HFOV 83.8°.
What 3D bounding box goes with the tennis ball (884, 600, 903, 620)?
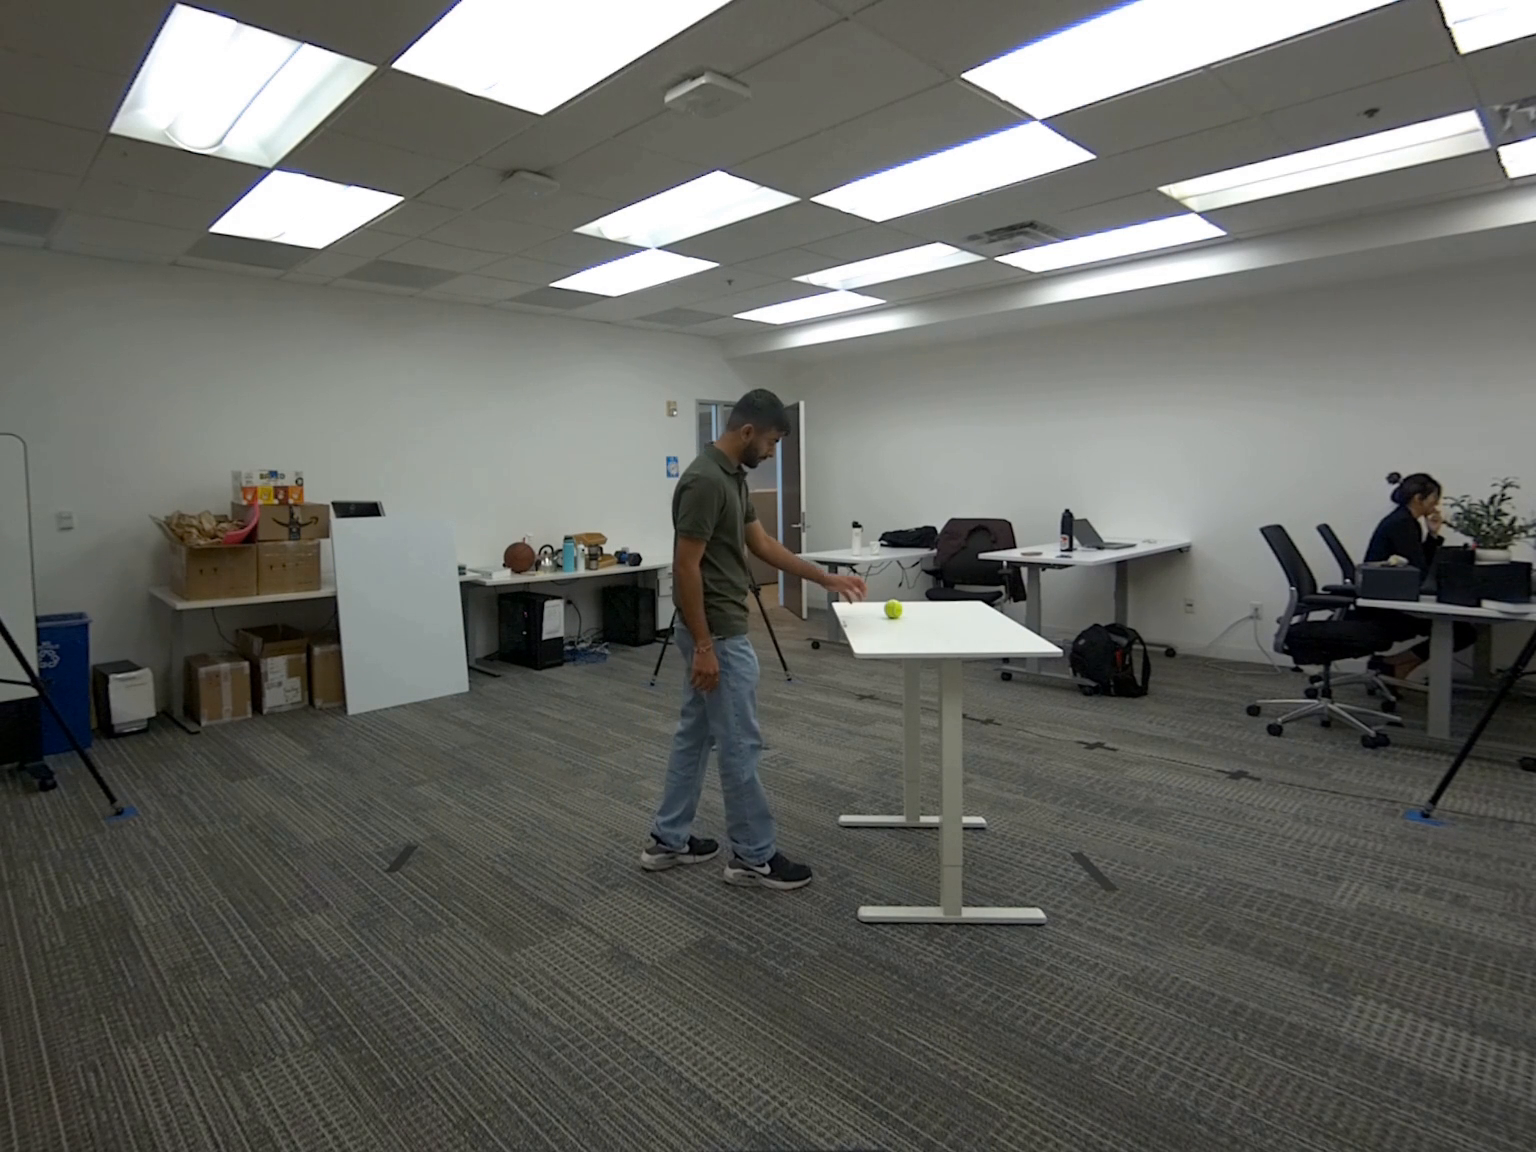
[{"bbox_3d":[0.443,0.120,3.112,0.066,0.066,0.067,-1,5,-2],"label":"tennis ball"}]
